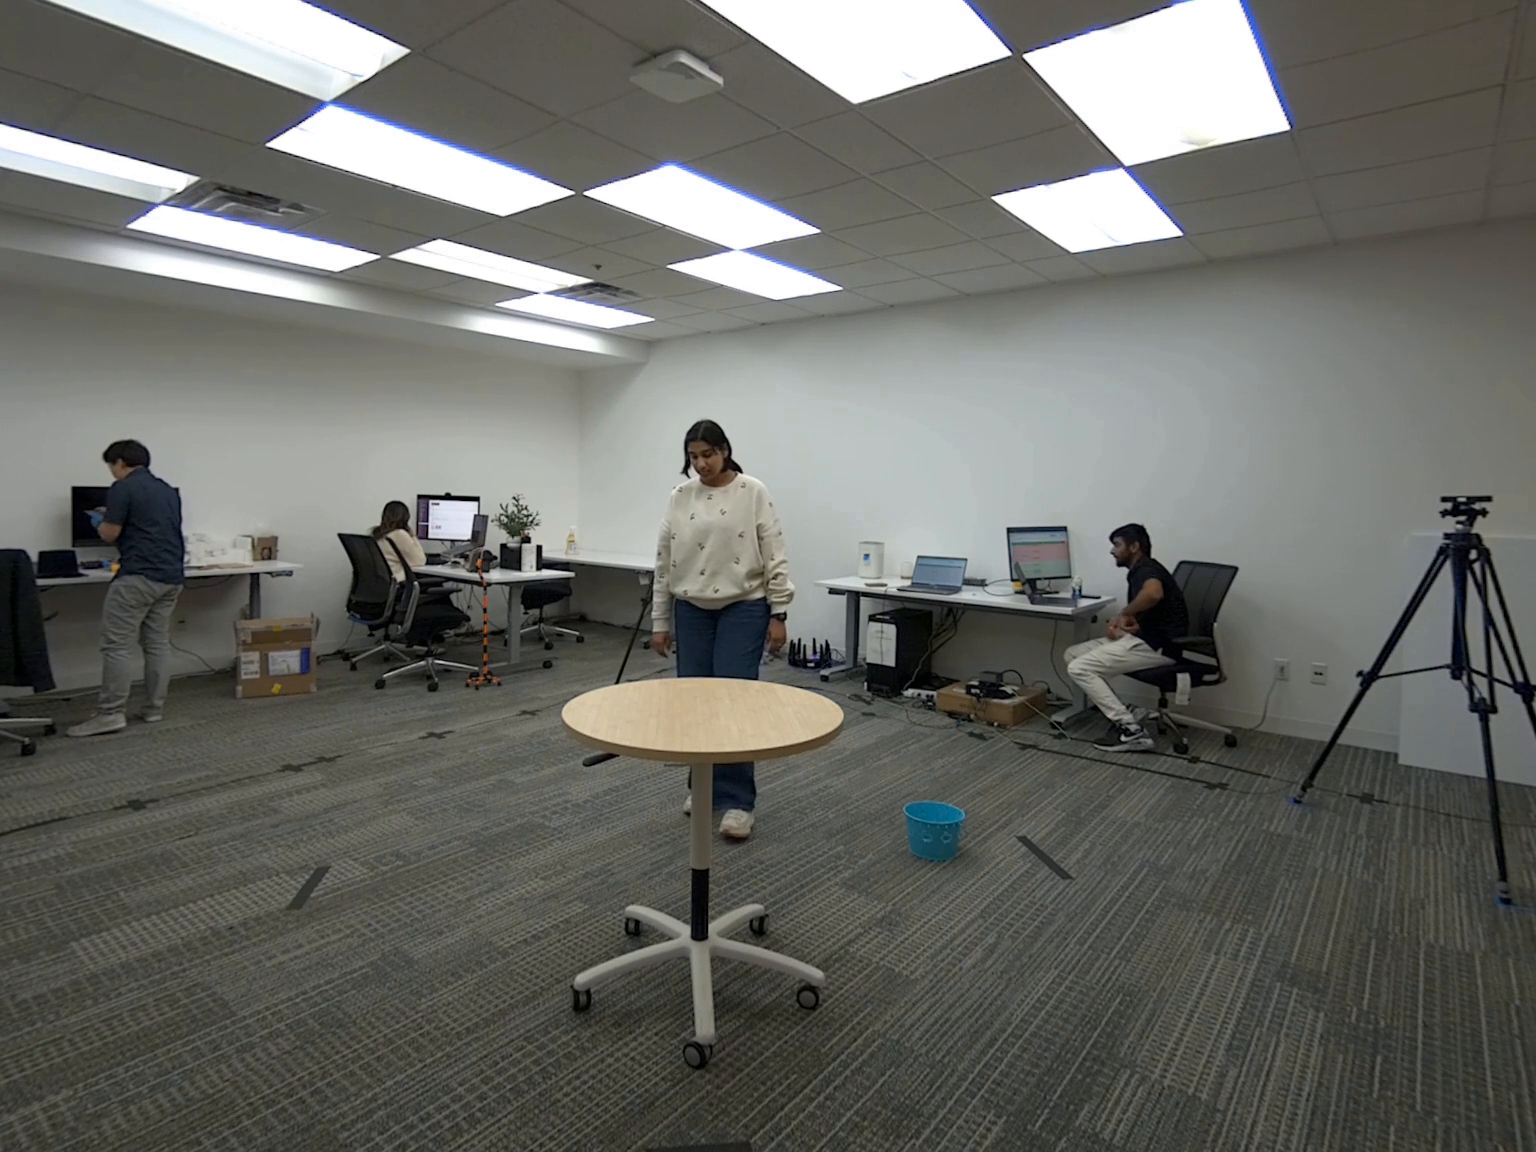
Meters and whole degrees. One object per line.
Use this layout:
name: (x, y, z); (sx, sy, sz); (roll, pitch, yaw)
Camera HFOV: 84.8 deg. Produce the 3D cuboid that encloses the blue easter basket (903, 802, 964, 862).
blue easter basket: (0.642, 0.985, 3.312); (0.243, 0.155, 0.245); (1, 5, -2)
